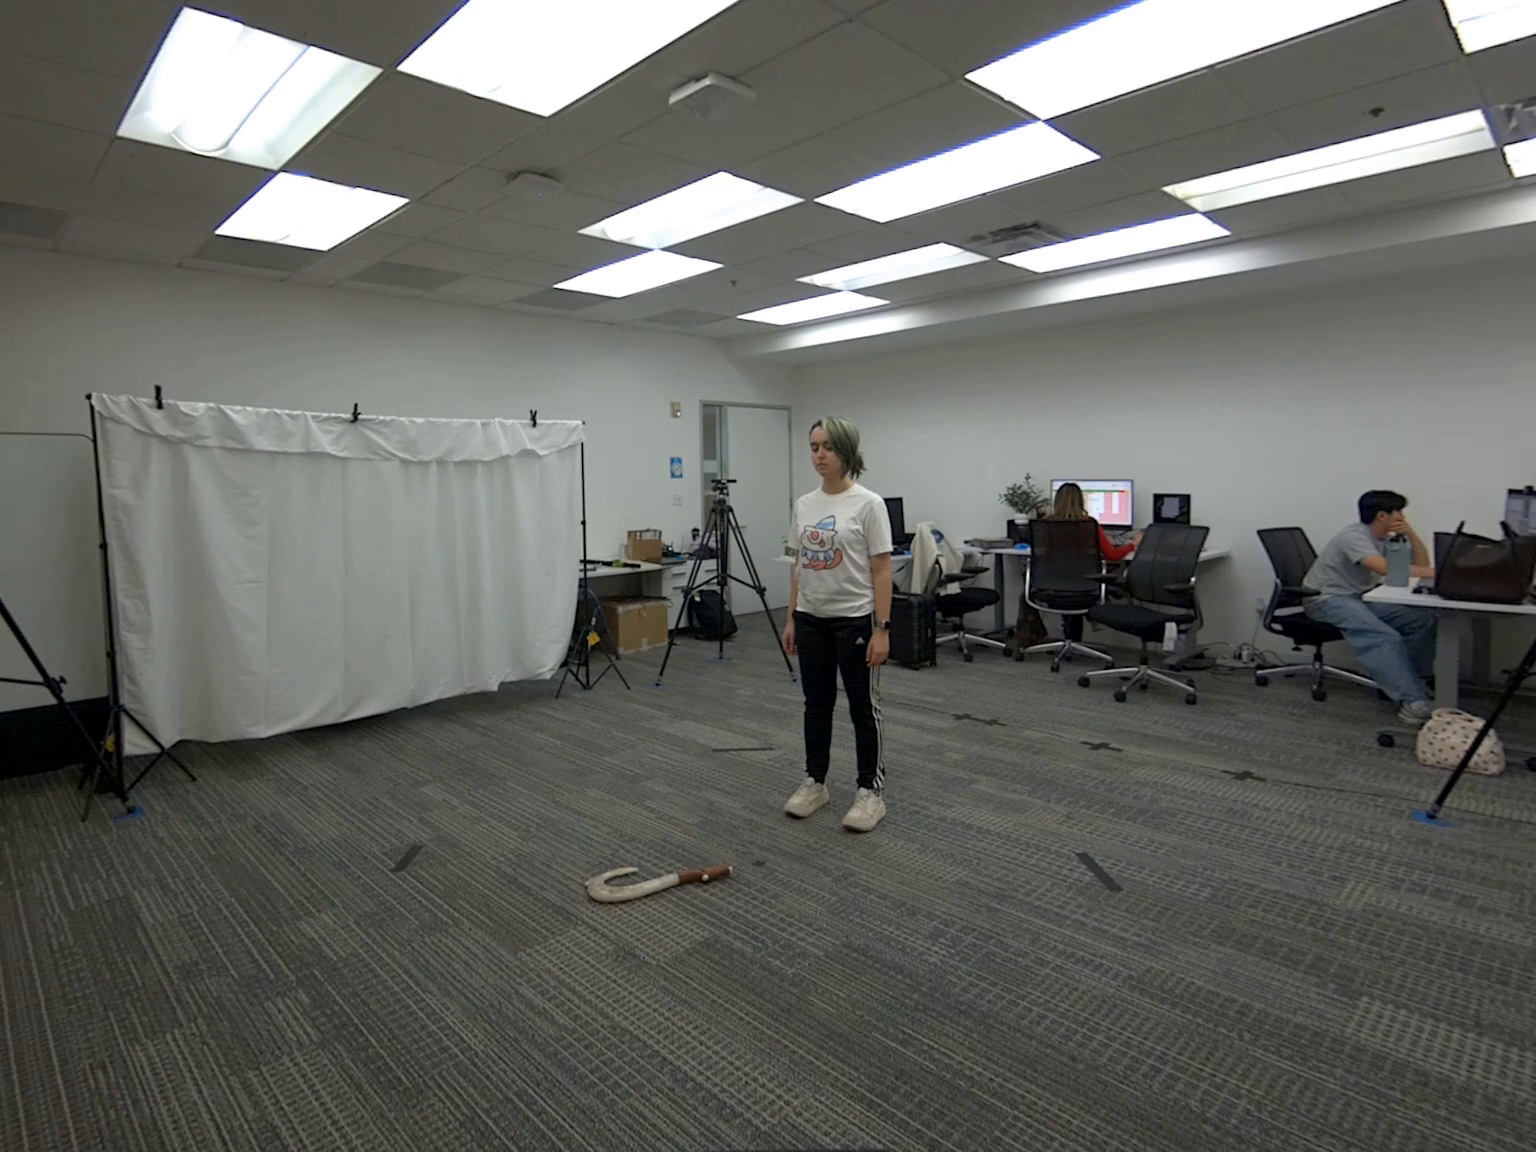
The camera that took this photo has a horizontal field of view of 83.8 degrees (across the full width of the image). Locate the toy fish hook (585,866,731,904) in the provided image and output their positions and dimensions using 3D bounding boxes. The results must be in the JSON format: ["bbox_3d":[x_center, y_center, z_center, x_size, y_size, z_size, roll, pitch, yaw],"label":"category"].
[{"bbox_3d":[-0.377,1.044,2.981,0.498,0.048,0.230,-3,8,-19],"label":"toy fish hook"}]
